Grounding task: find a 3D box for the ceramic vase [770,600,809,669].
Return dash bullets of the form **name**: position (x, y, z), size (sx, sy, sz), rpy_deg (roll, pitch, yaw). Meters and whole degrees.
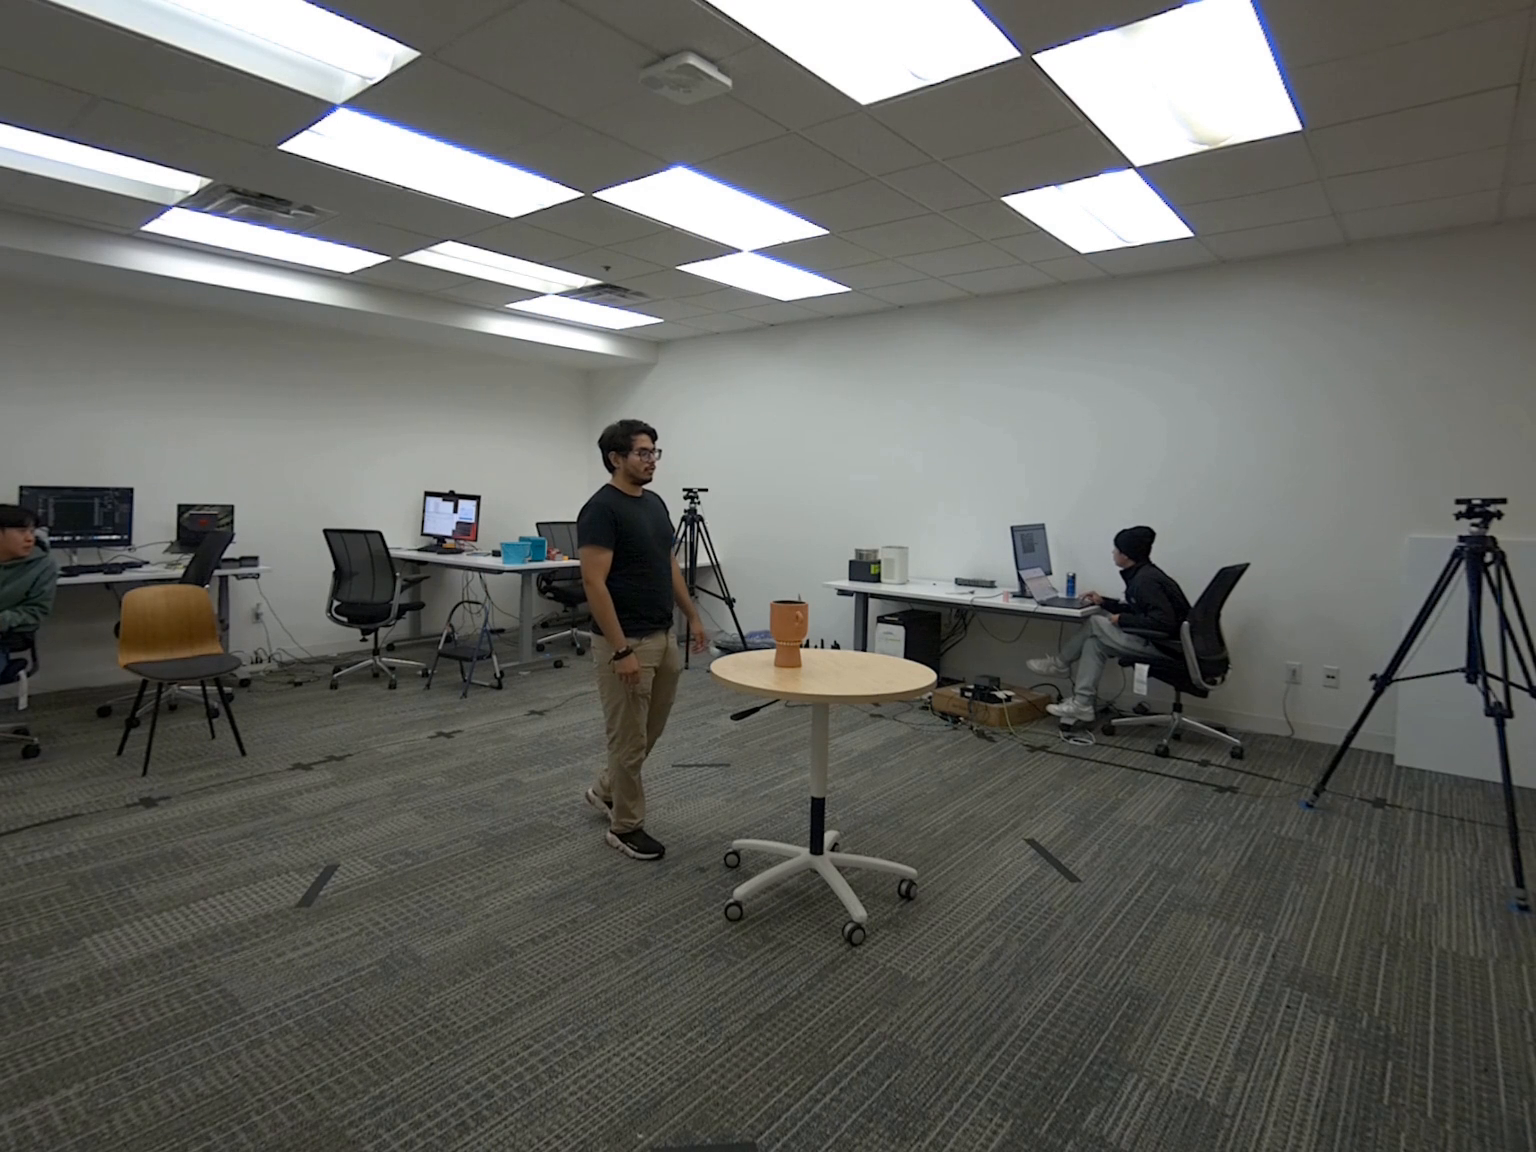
- **ceramic vase**: position (0.064, 0.202, 2.960), size (0.137, 0.219, 0.156), rpy_deg (1, 3, 15)
